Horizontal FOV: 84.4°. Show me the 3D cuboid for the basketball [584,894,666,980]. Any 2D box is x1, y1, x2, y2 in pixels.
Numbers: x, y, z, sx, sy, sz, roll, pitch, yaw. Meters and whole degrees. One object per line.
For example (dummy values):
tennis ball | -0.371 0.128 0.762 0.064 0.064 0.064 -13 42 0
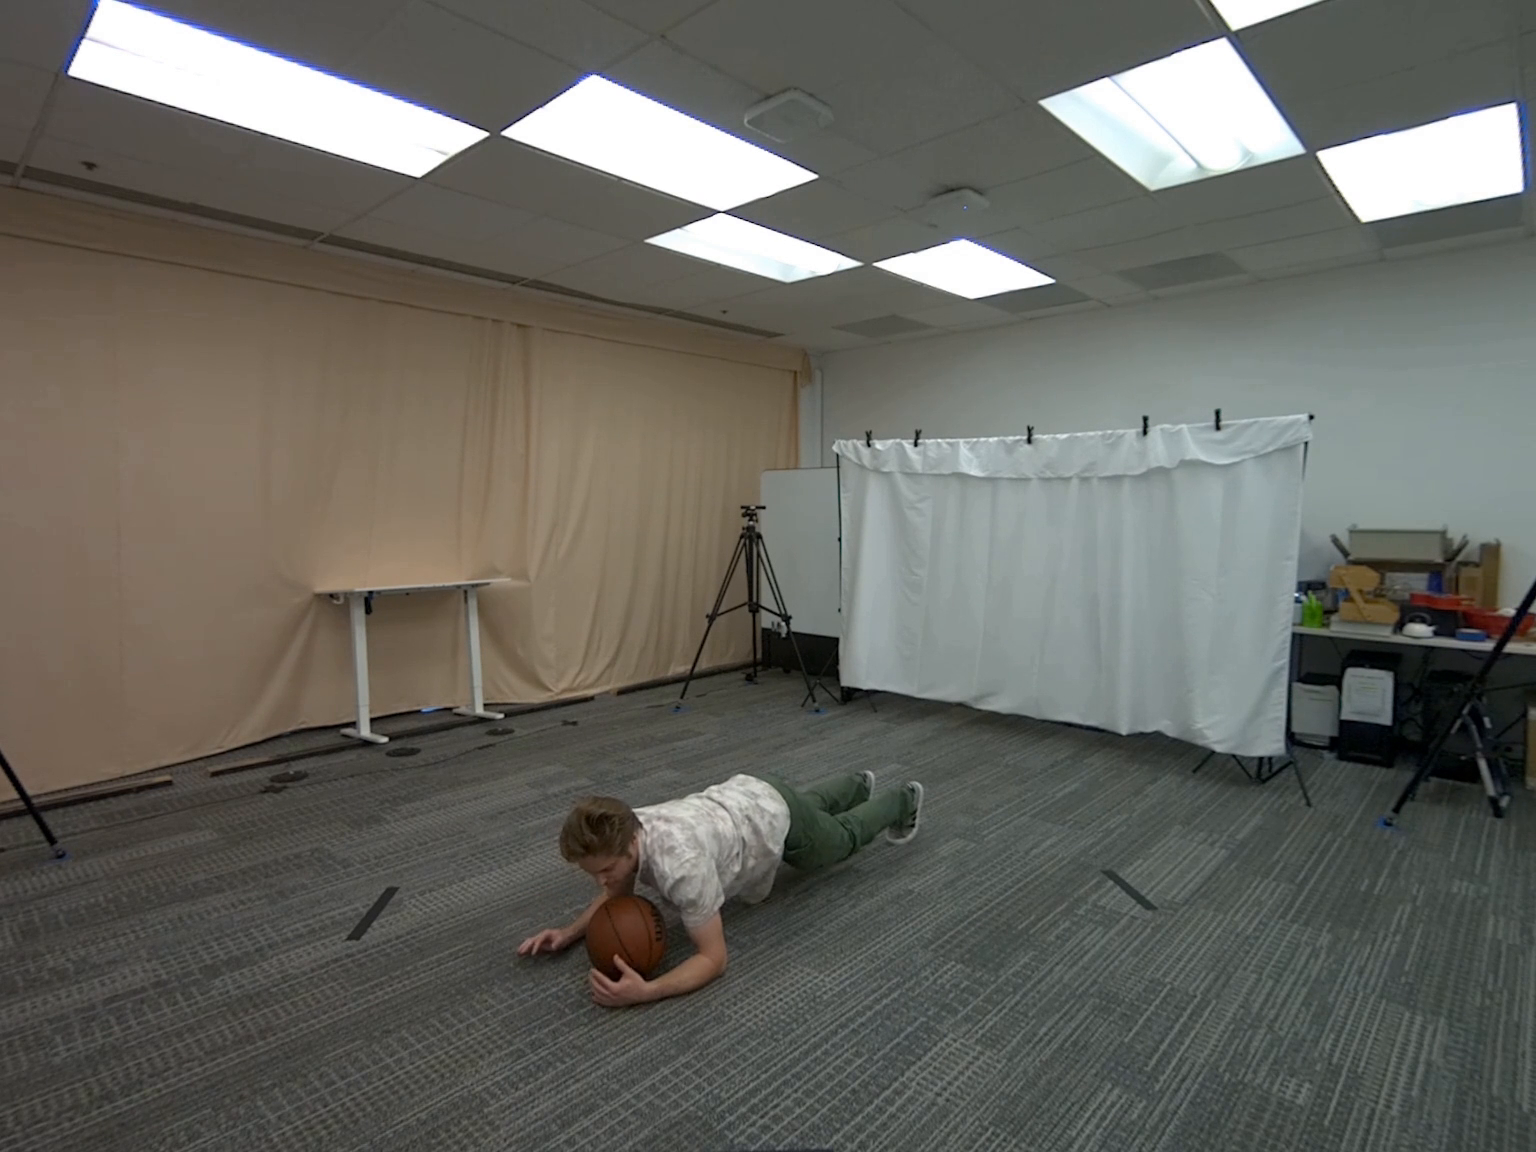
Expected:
basketball | -0.415 1.066 2.495 0.236 0.235 0.237 0 4 -2
